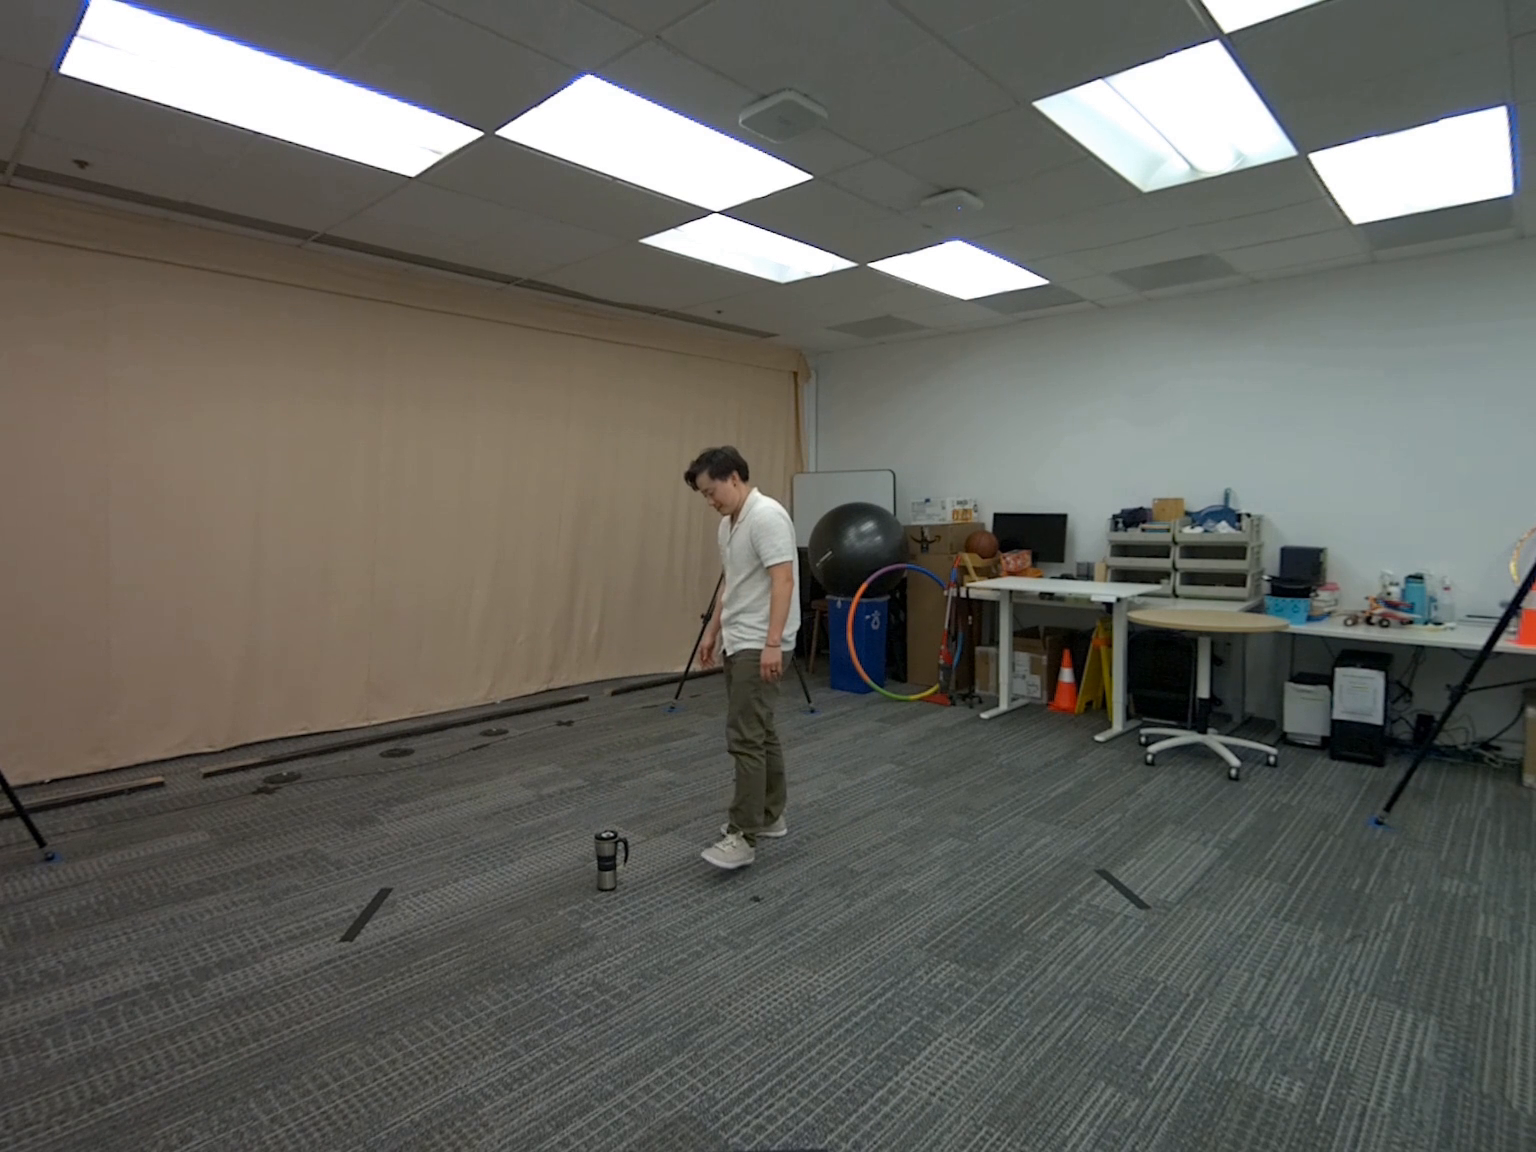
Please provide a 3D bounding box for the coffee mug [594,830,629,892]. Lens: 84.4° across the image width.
[{"bbox_3d":[-0.573,1.047,3.062,0.125,0.203,0.085,-2,-3,35],"label":"coffee mug"}]
